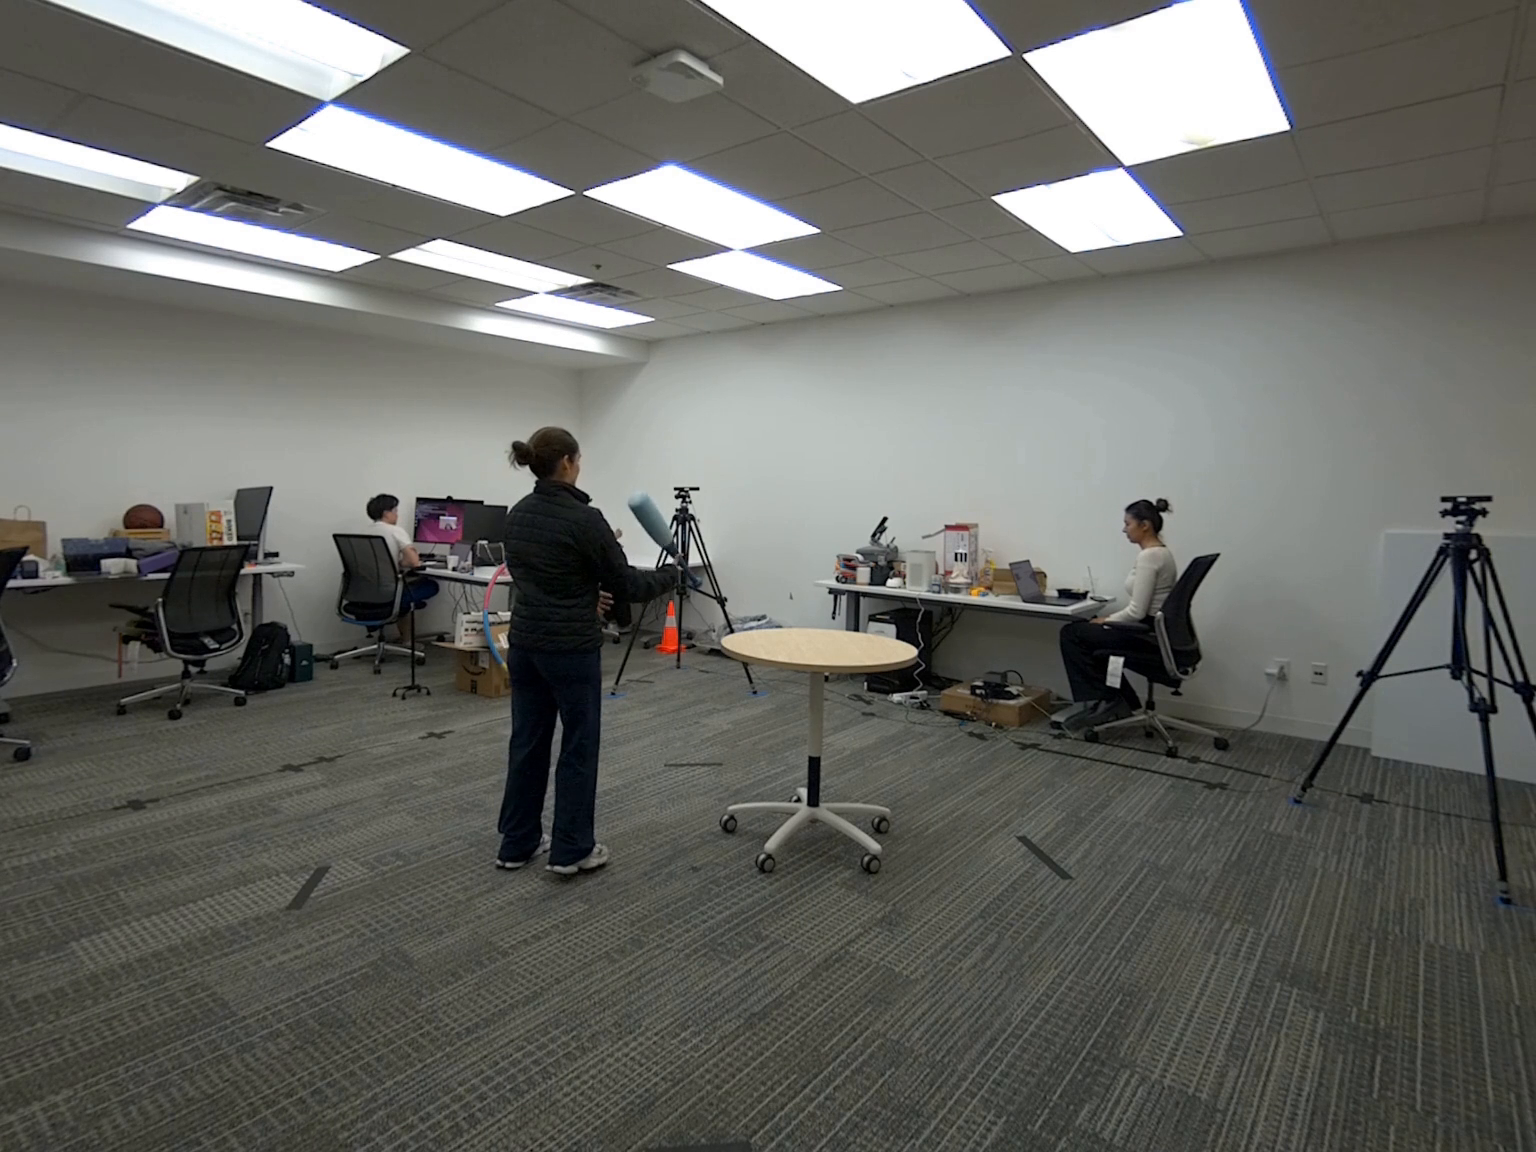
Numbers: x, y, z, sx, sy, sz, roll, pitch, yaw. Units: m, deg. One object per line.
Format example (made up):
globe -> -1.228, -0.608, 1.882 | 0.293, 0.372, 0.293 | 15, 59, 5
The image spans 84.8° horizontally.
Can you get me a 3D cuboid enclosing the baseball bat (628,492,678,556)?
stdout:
baseball bat -> -0.393, -0.118, 3.417 | 0.090, 0.522, 0.091 | -20, 38, 15
